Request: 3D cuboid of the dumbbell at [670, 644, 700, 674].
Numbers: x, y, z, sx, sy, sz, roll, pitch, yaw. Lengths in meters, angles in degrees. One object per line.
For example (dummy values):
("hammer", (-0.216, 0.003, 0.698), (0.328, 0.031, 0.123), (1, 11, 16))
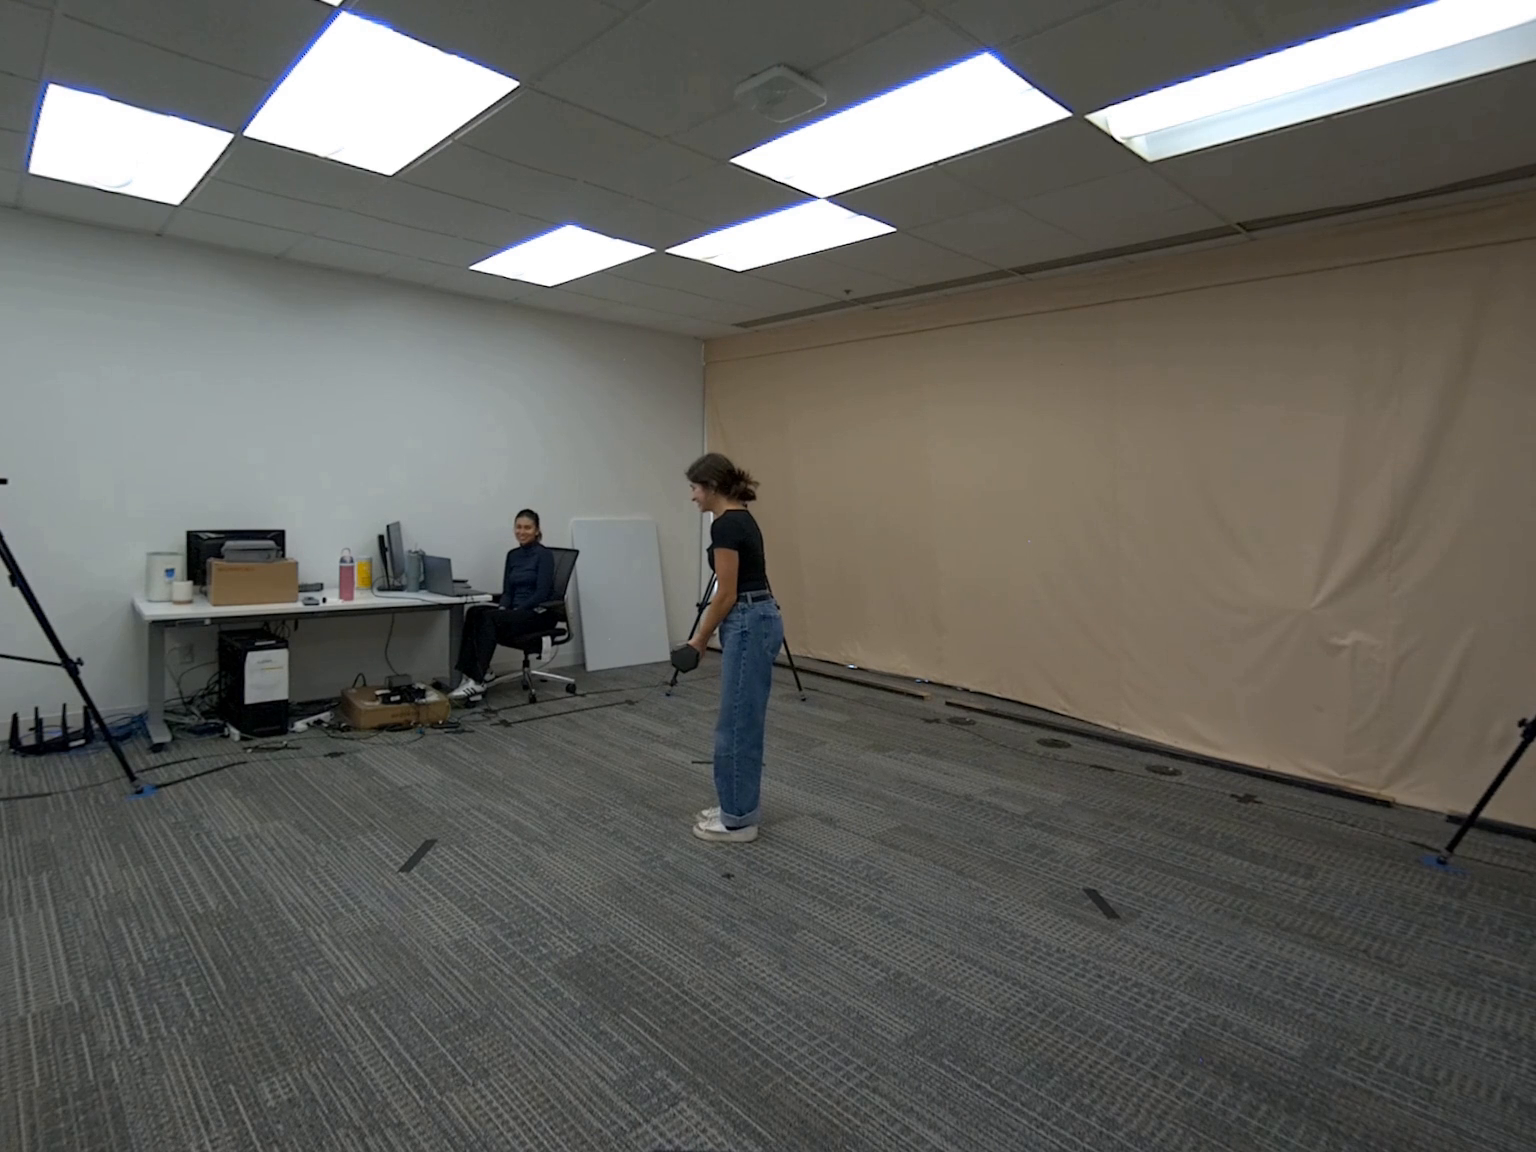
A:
("dumbbell", (-0.343, 0.327, 3.482), (0.108, 0.123, 0.294), (8, -1, -4))
